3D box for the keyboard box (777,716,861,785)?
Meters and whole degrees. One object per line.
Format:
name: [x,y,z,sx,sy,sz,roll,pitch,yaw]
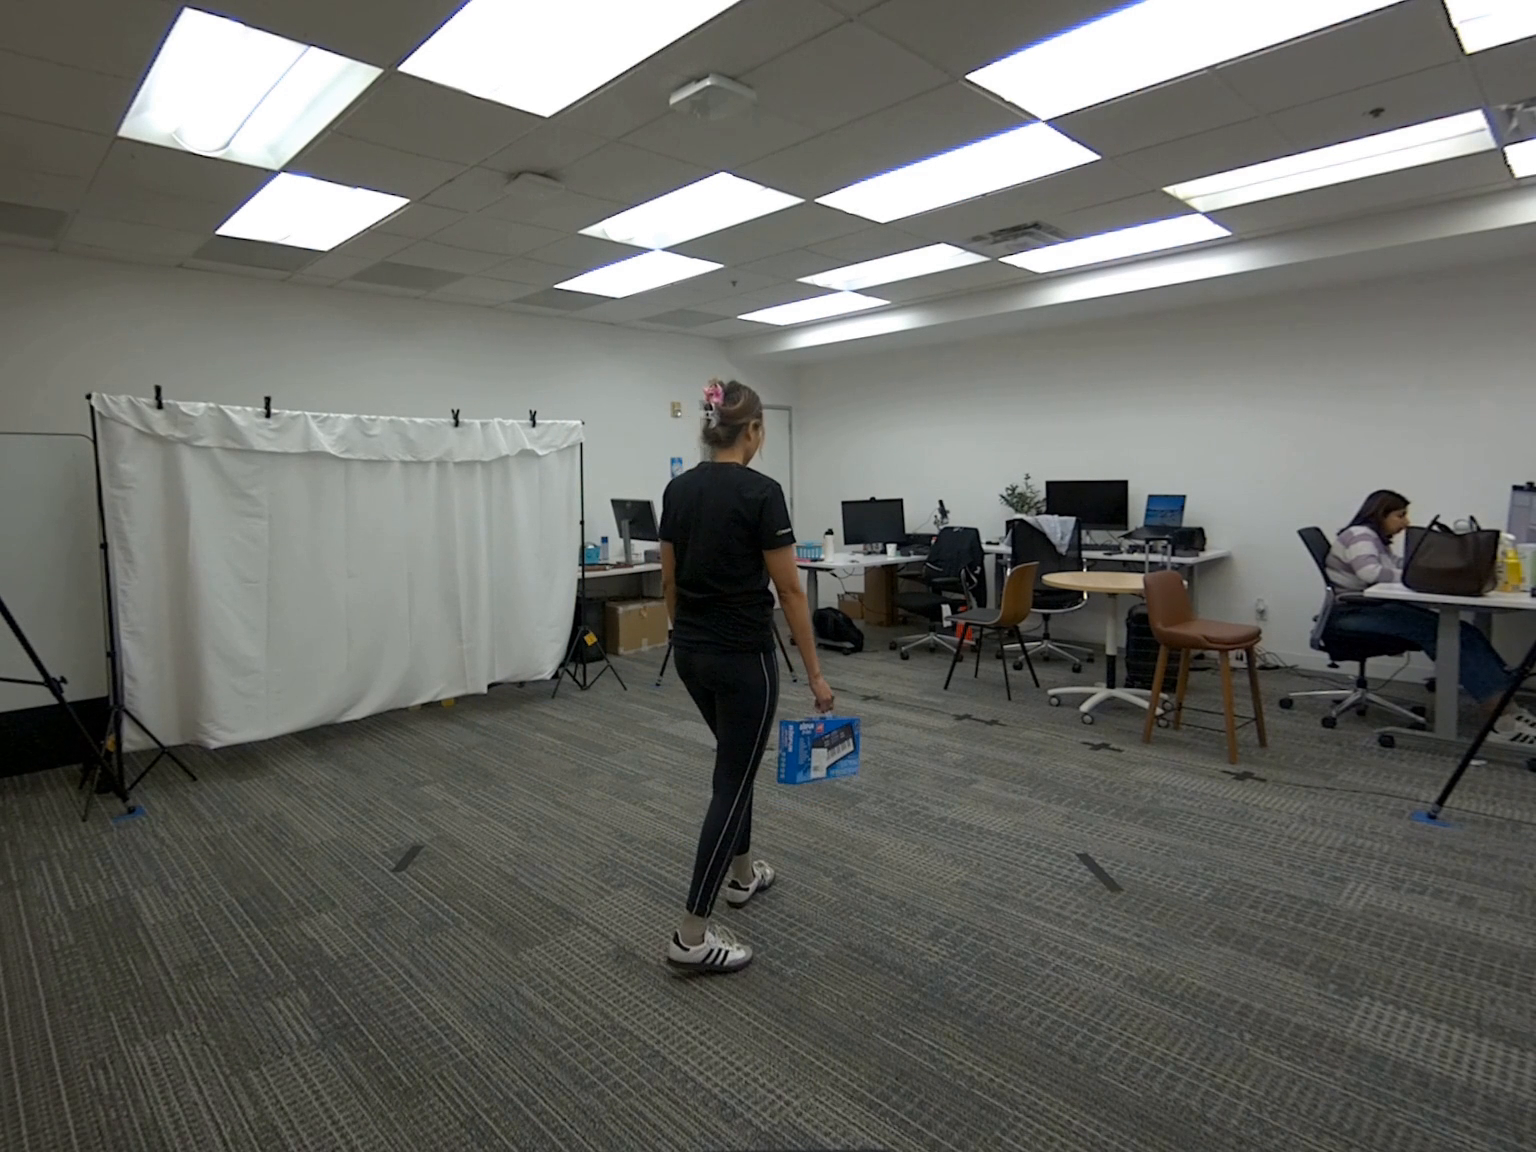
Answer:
keyboard box: [0.158,0.511,2.540,0.060,0.177,0.423,-2,-8,28]
